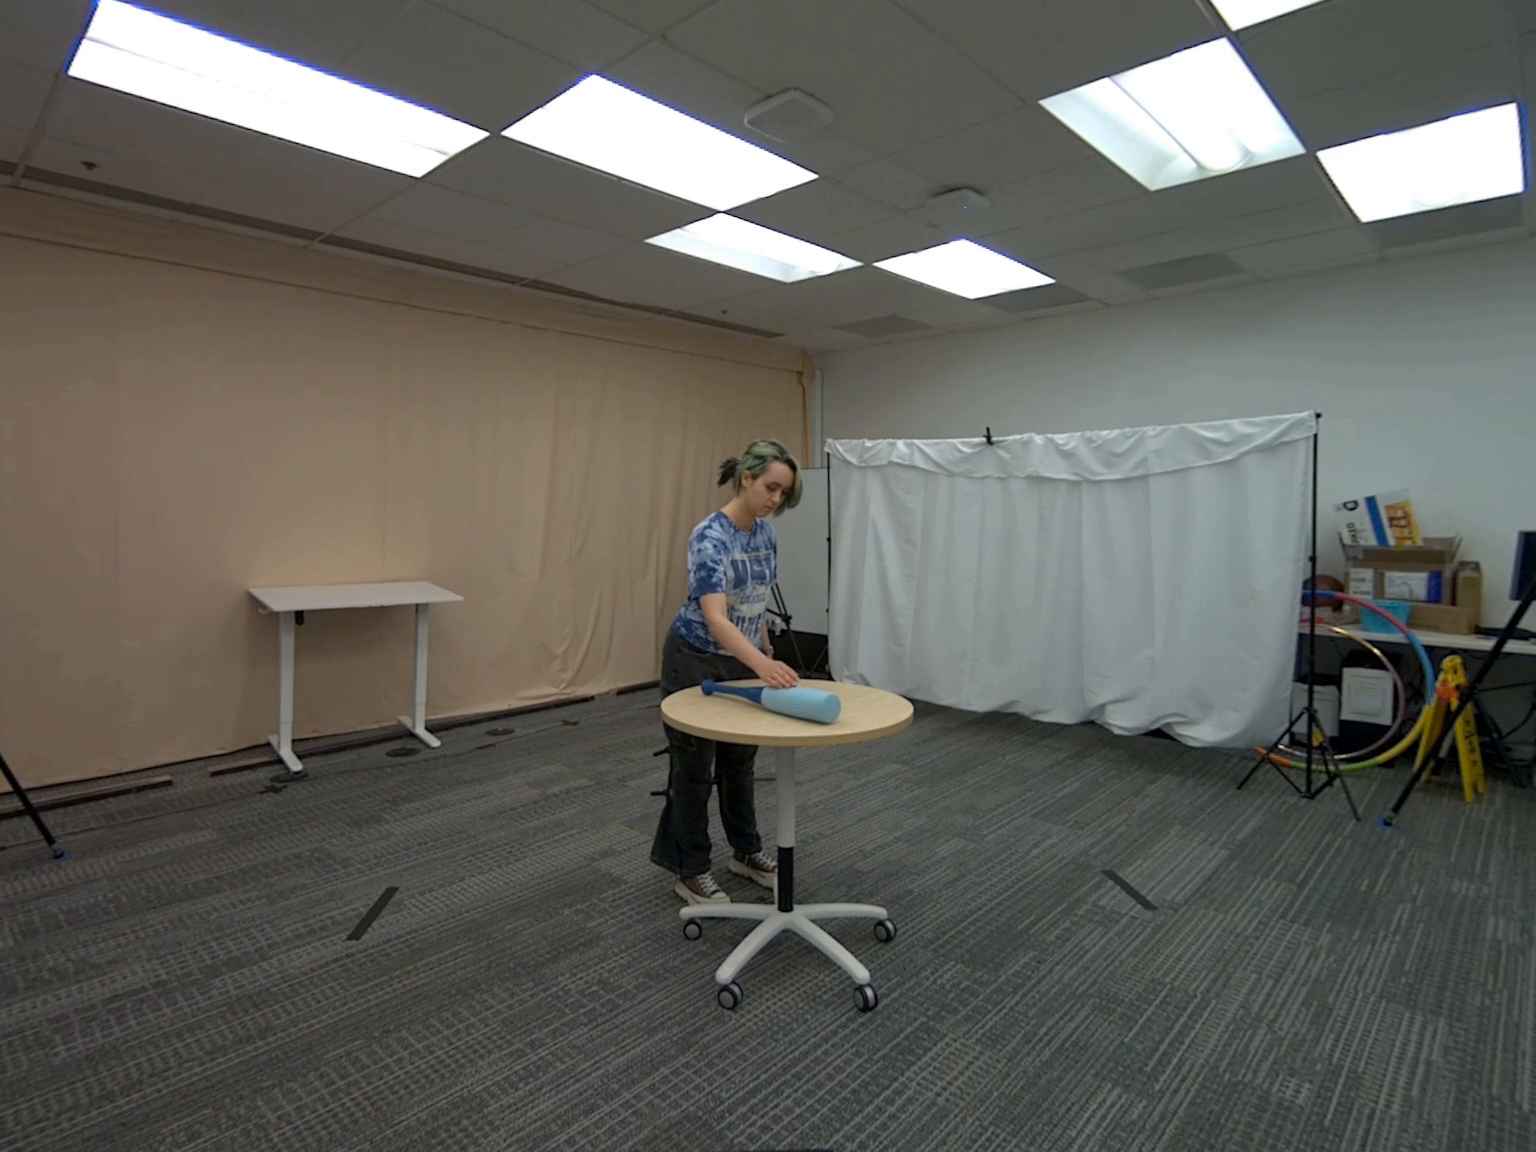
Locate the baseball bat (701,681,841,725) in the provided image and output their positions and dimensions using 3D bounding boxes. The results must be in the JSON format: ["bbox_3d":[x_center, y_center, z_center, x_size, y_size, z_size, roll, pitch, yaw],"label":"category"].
[{"bbox_3d":[-0.009,0.366,2.510,0.086,0.089,0.560,-4,2,-45],"label":"baseball bat"}]
